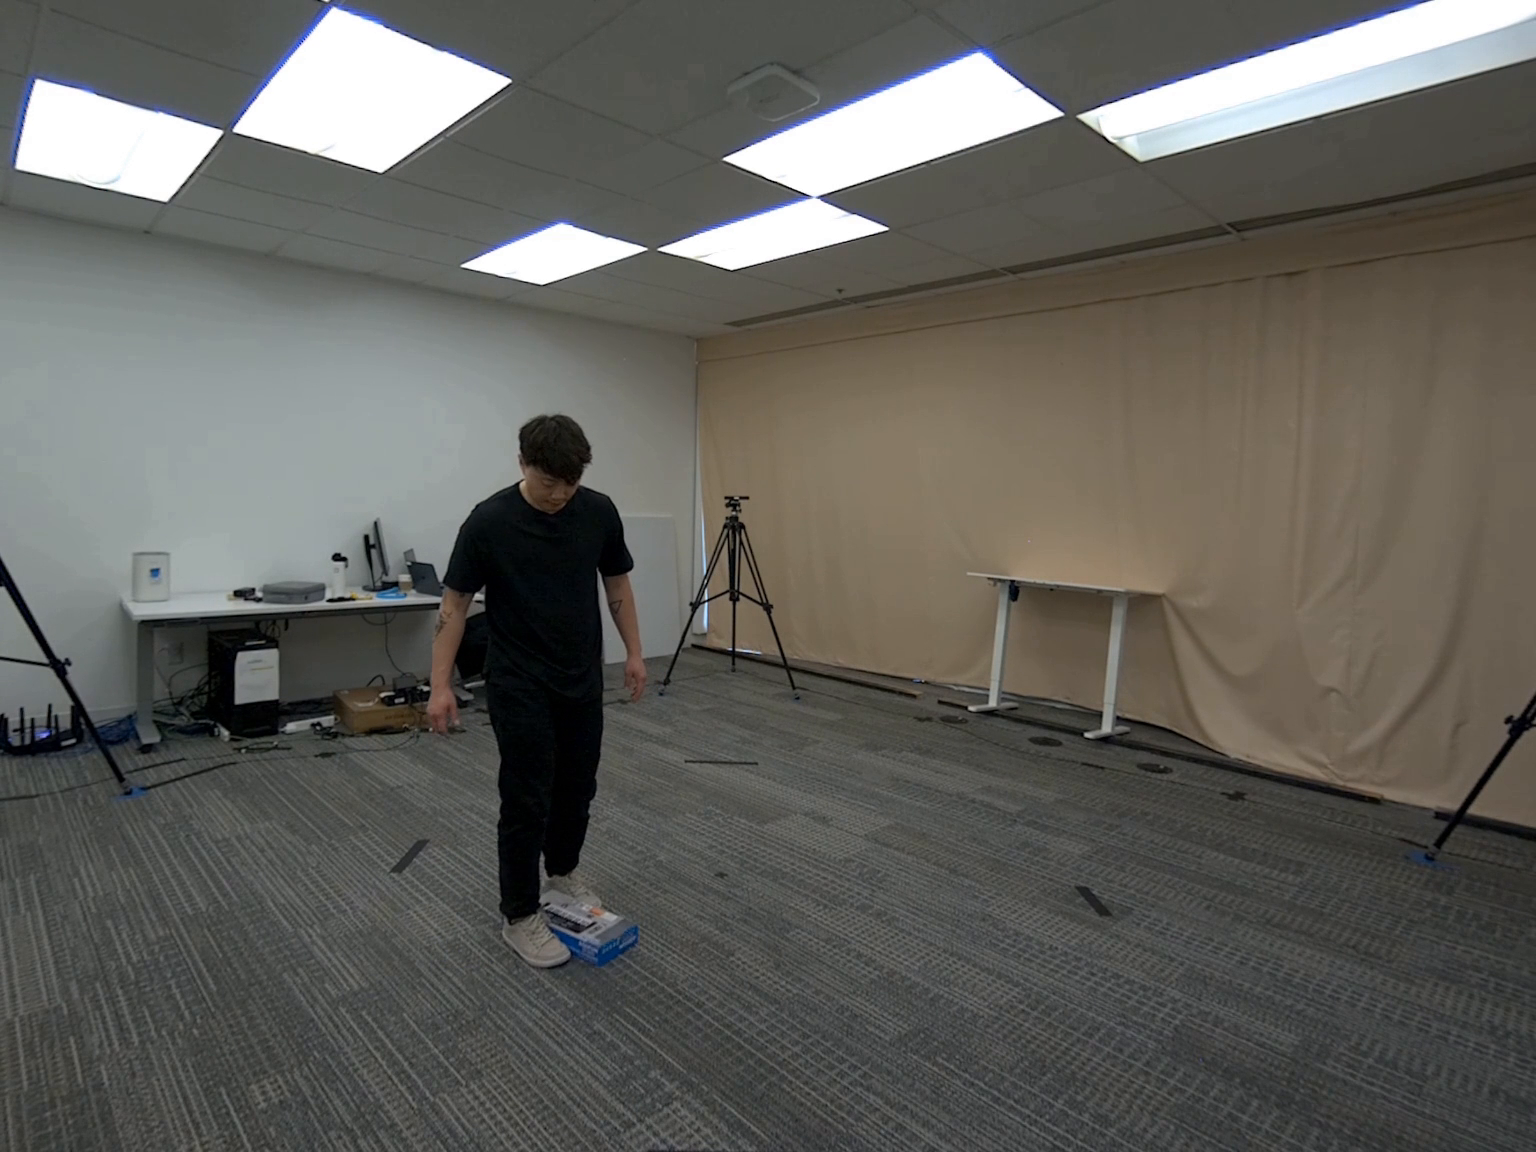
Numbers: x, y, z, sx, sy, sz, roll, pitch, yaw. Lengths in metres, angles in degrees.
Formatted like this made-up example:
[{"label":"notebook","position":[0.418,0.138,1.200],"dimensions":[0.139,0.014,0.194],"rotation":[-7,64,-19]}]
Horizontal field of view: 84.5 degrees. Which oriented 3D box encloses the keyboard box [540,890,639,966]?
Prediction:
[{"label":"keyboard box","position":[-0.634,1.104,2.667],"dimensions":[0.447,0.059,0.172],"rotation":[5,7,36]}]
